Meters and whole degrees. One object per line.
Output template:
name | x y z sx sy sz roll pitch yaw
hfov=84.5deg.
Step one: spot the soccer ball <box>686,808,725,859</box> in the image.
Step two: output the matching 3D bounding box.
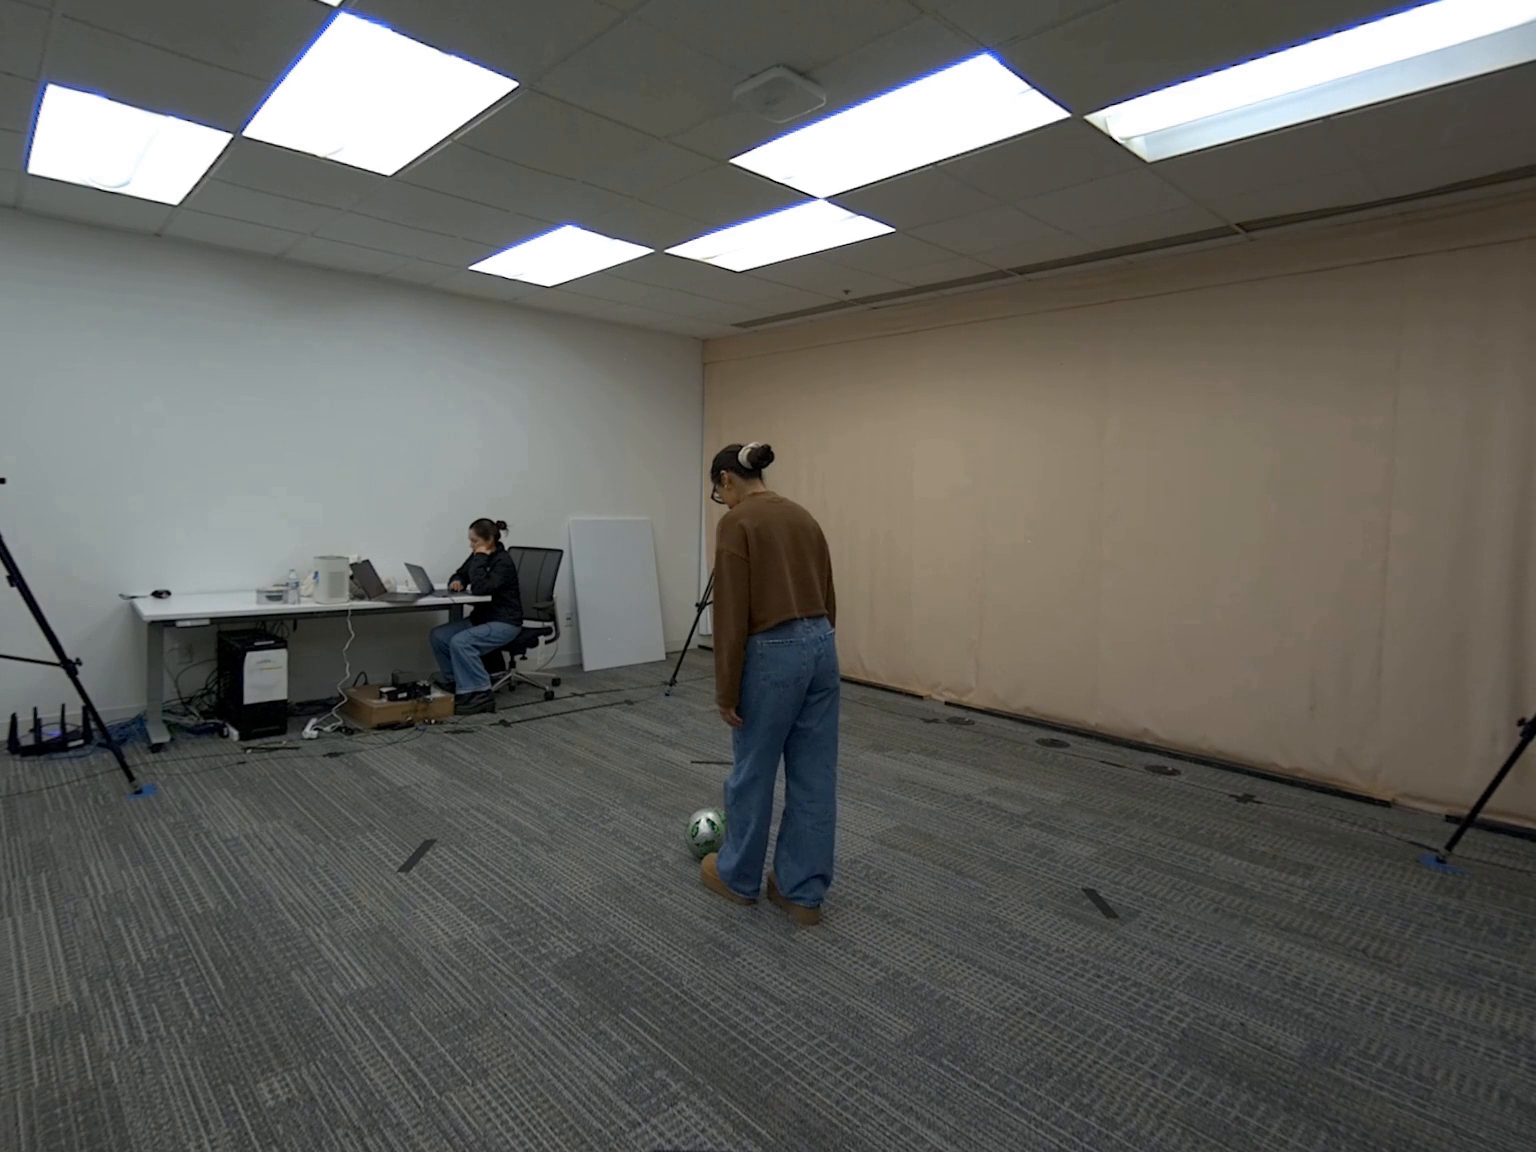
soccer ball | -0.240 0.994 3.257 0.187 0.187 0.188 1 4 -1
